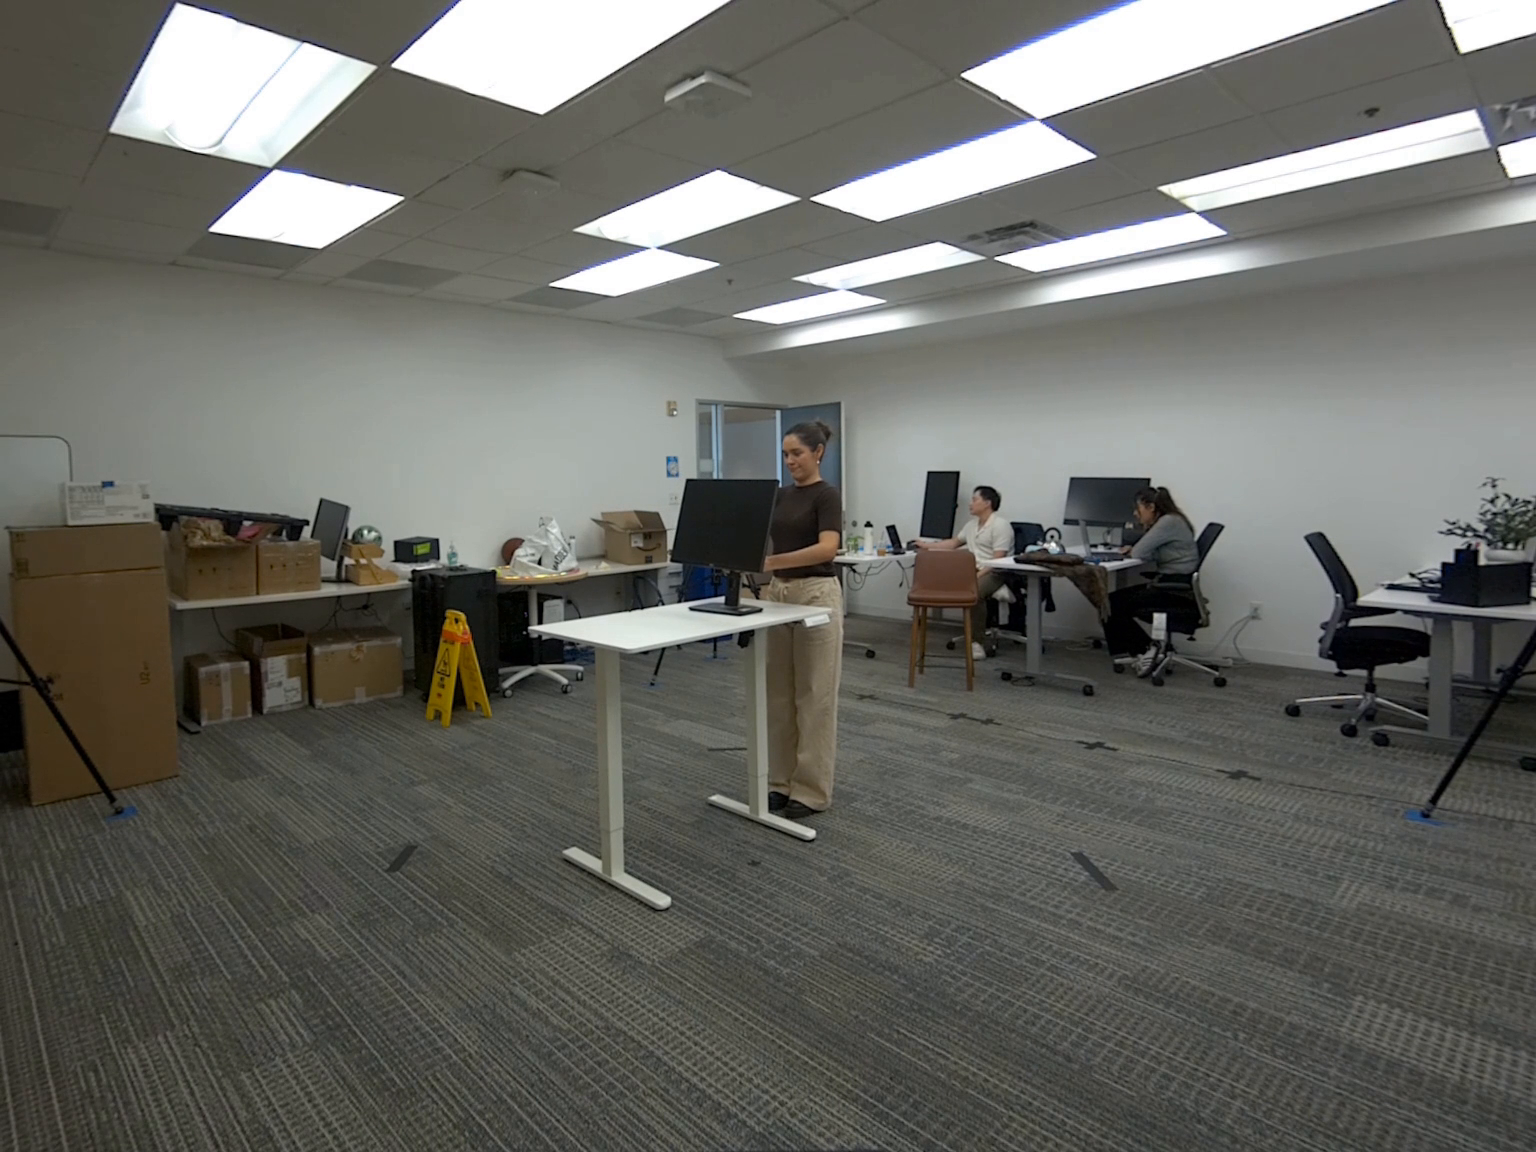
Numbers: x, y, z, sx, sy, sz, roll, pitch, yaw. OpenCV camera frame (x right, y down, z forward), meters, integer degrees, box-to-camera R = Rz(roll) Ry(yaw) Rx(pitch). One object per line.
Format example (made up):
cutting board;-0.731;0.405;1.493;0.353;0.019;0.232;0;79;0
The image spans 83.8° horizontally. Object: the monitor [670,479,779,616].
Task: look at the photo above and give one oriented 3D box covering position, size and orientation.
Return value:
monitor;-0.161;-0.116;3.335;0.182;0.521;0.556;-3;5;-45
